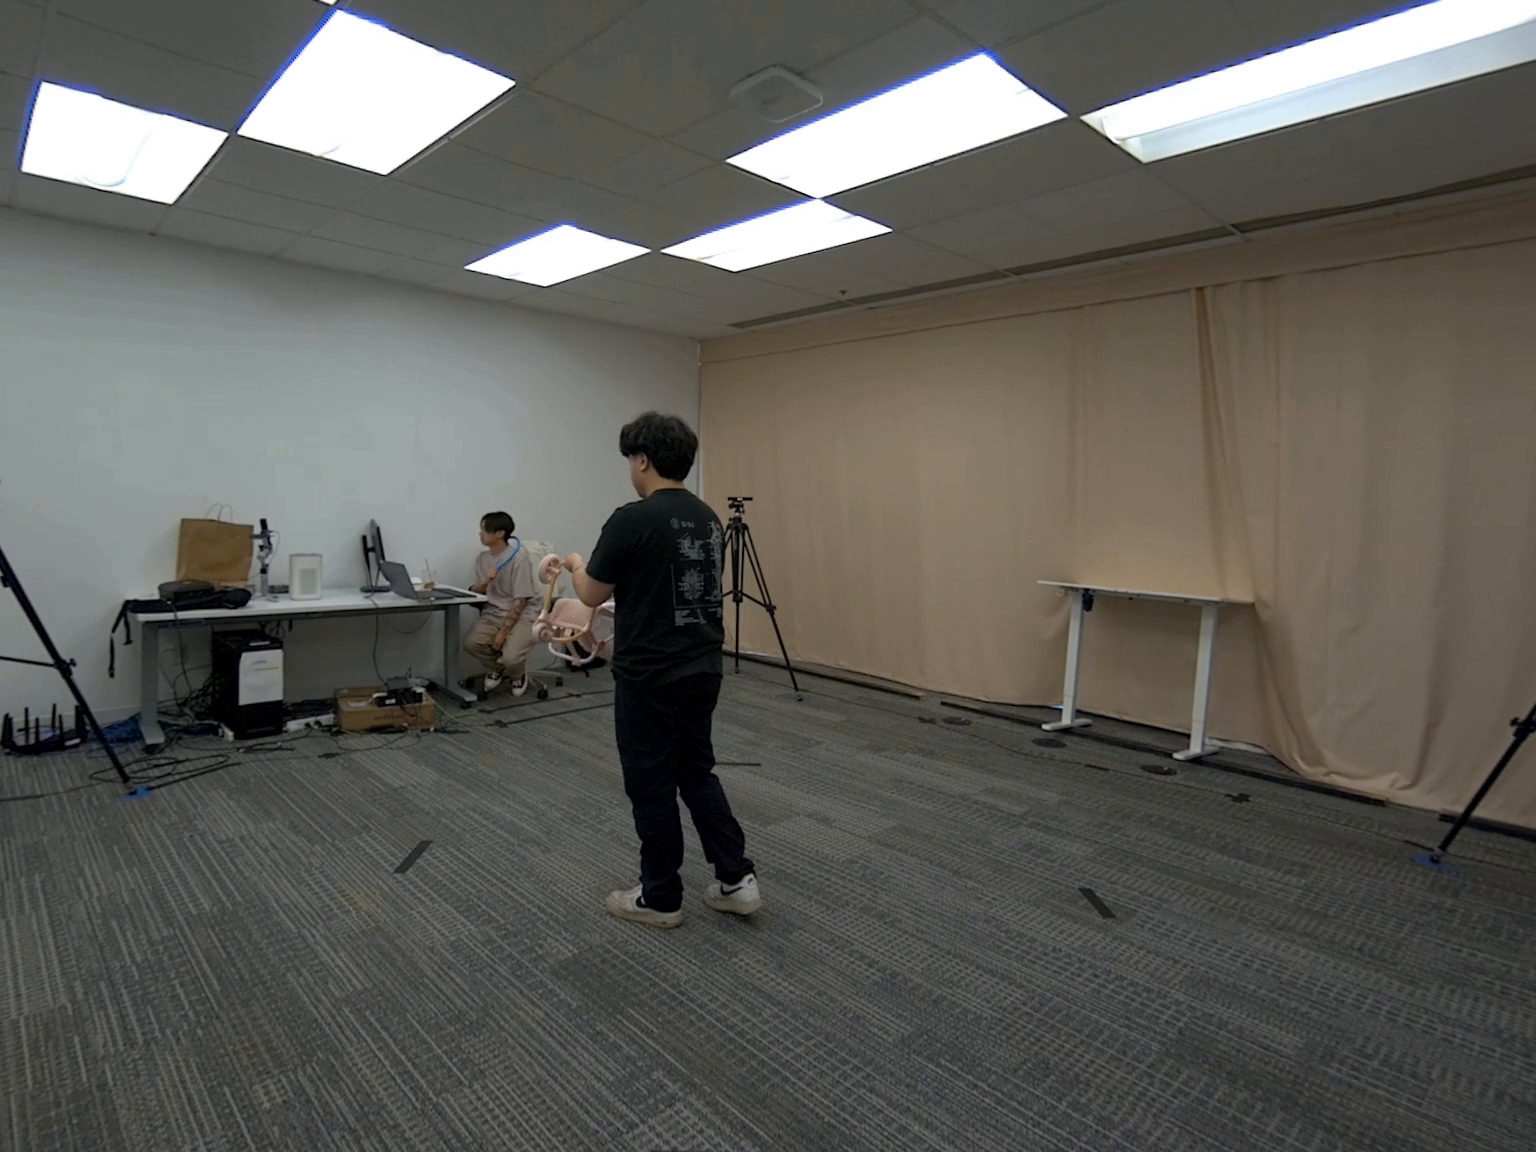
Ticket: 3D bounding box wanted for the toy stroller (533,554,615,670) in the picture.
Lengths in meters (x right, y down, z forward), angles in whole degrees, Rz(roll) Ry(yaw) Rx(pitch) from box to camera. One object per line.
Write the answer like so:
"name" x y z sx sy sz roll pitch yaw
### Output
"toy stroller" -0.649 0.167 3.012 0.287 0.344 0.520 9 -23 22
